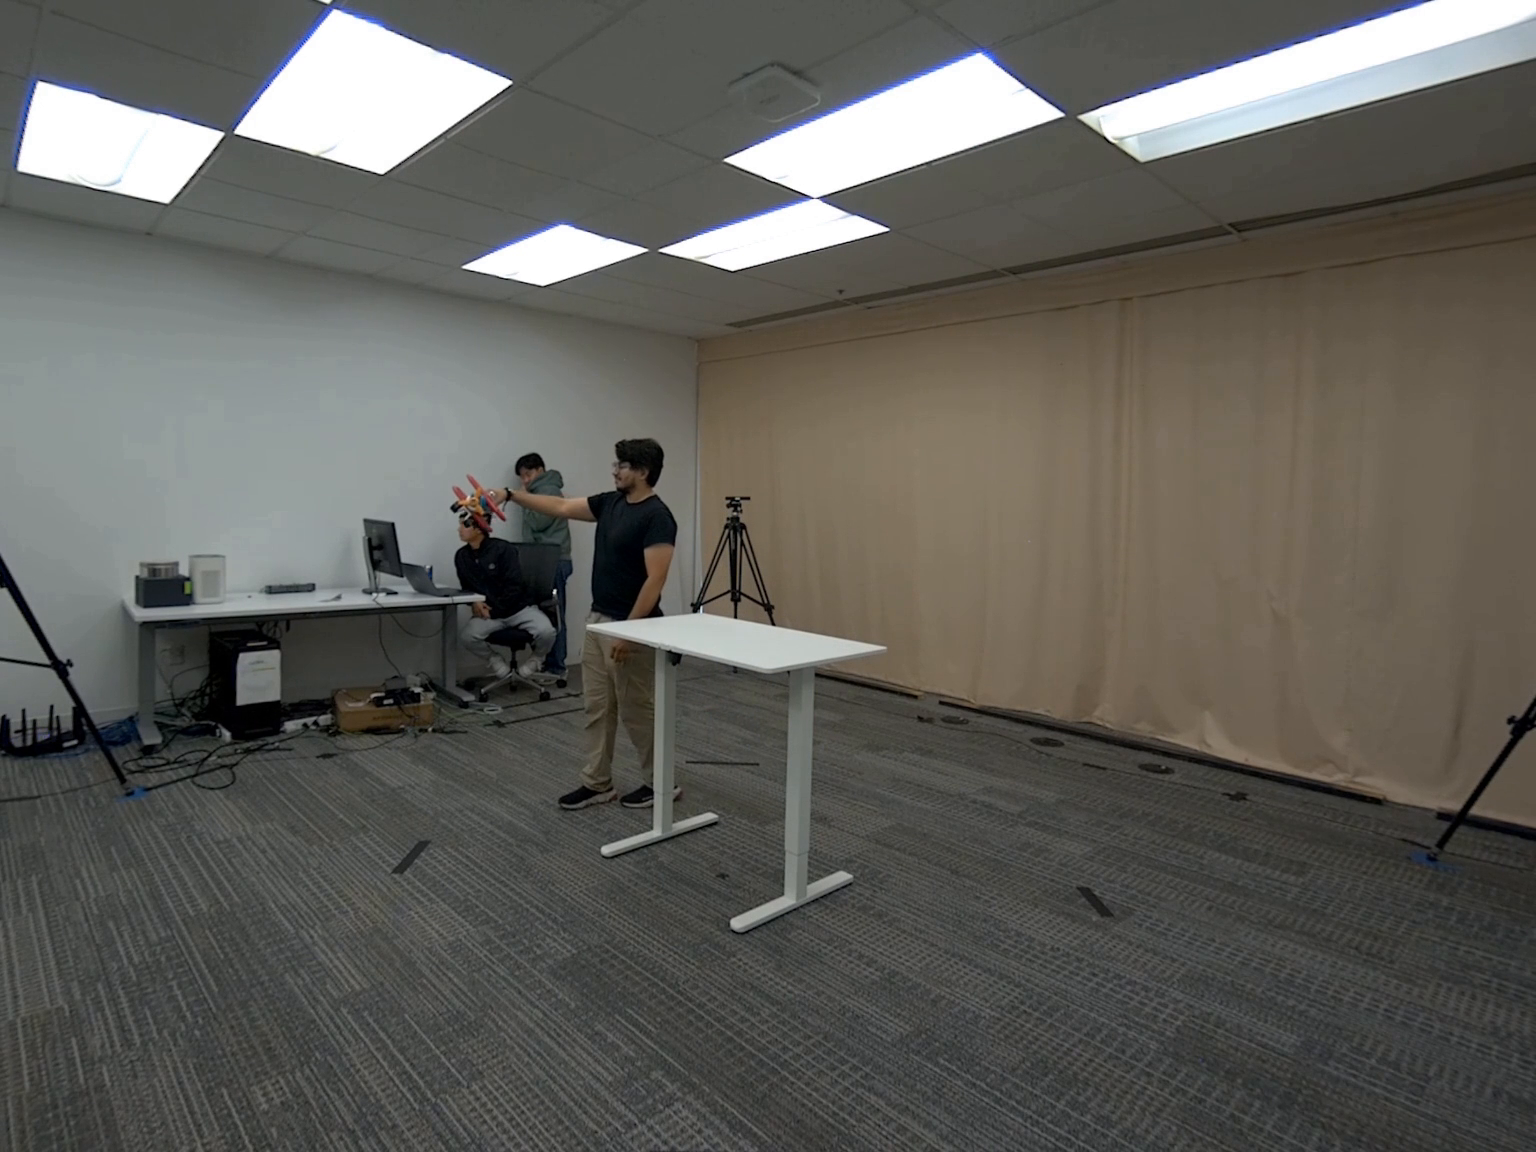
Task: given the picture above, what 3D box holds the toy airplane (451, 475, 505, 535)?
[{"bbox_3d":[-1.298,-0.323,3.693,0.157,0.245,0.265,-38,28,12],"label":"toy airplane"}]
